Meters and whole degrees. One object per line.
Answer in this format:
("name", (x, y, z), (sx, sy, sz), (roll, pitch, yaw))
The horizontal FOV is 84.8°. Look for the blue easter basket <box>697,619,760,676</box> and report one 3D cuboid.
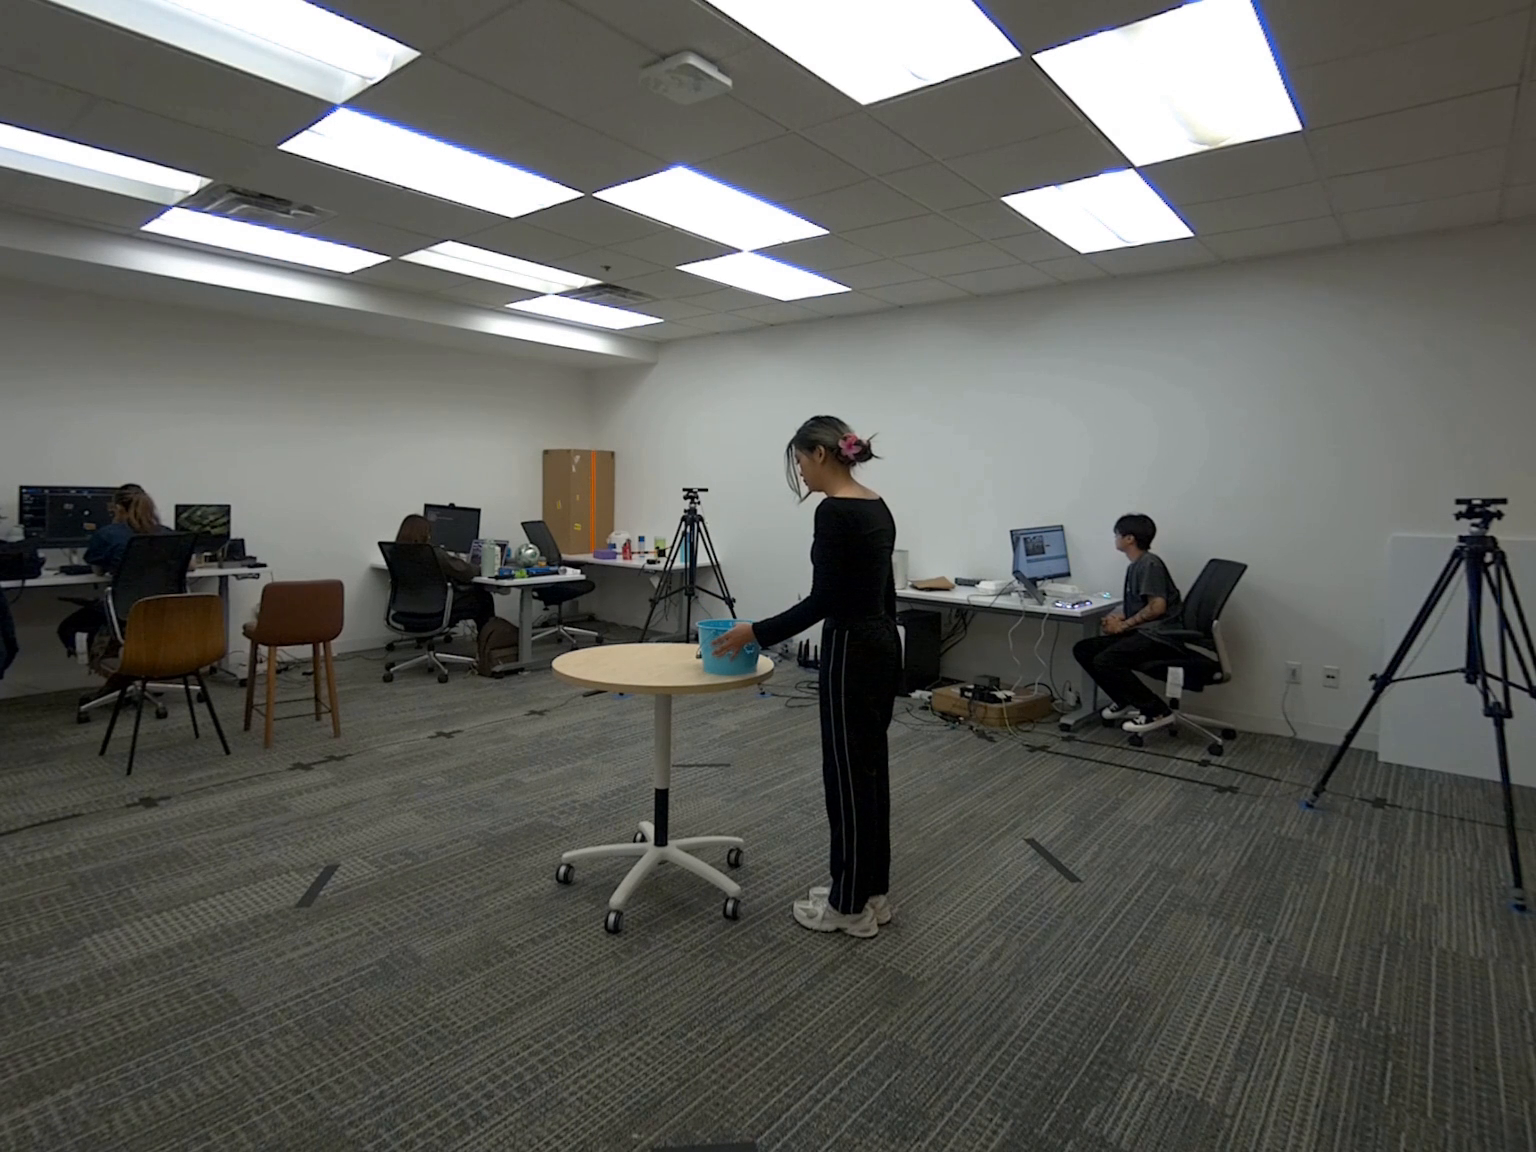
("blue easter basket", (-0.127, 0.238, 2.859), (0.243, 0.155, 0.245), (2, 4, -2))
